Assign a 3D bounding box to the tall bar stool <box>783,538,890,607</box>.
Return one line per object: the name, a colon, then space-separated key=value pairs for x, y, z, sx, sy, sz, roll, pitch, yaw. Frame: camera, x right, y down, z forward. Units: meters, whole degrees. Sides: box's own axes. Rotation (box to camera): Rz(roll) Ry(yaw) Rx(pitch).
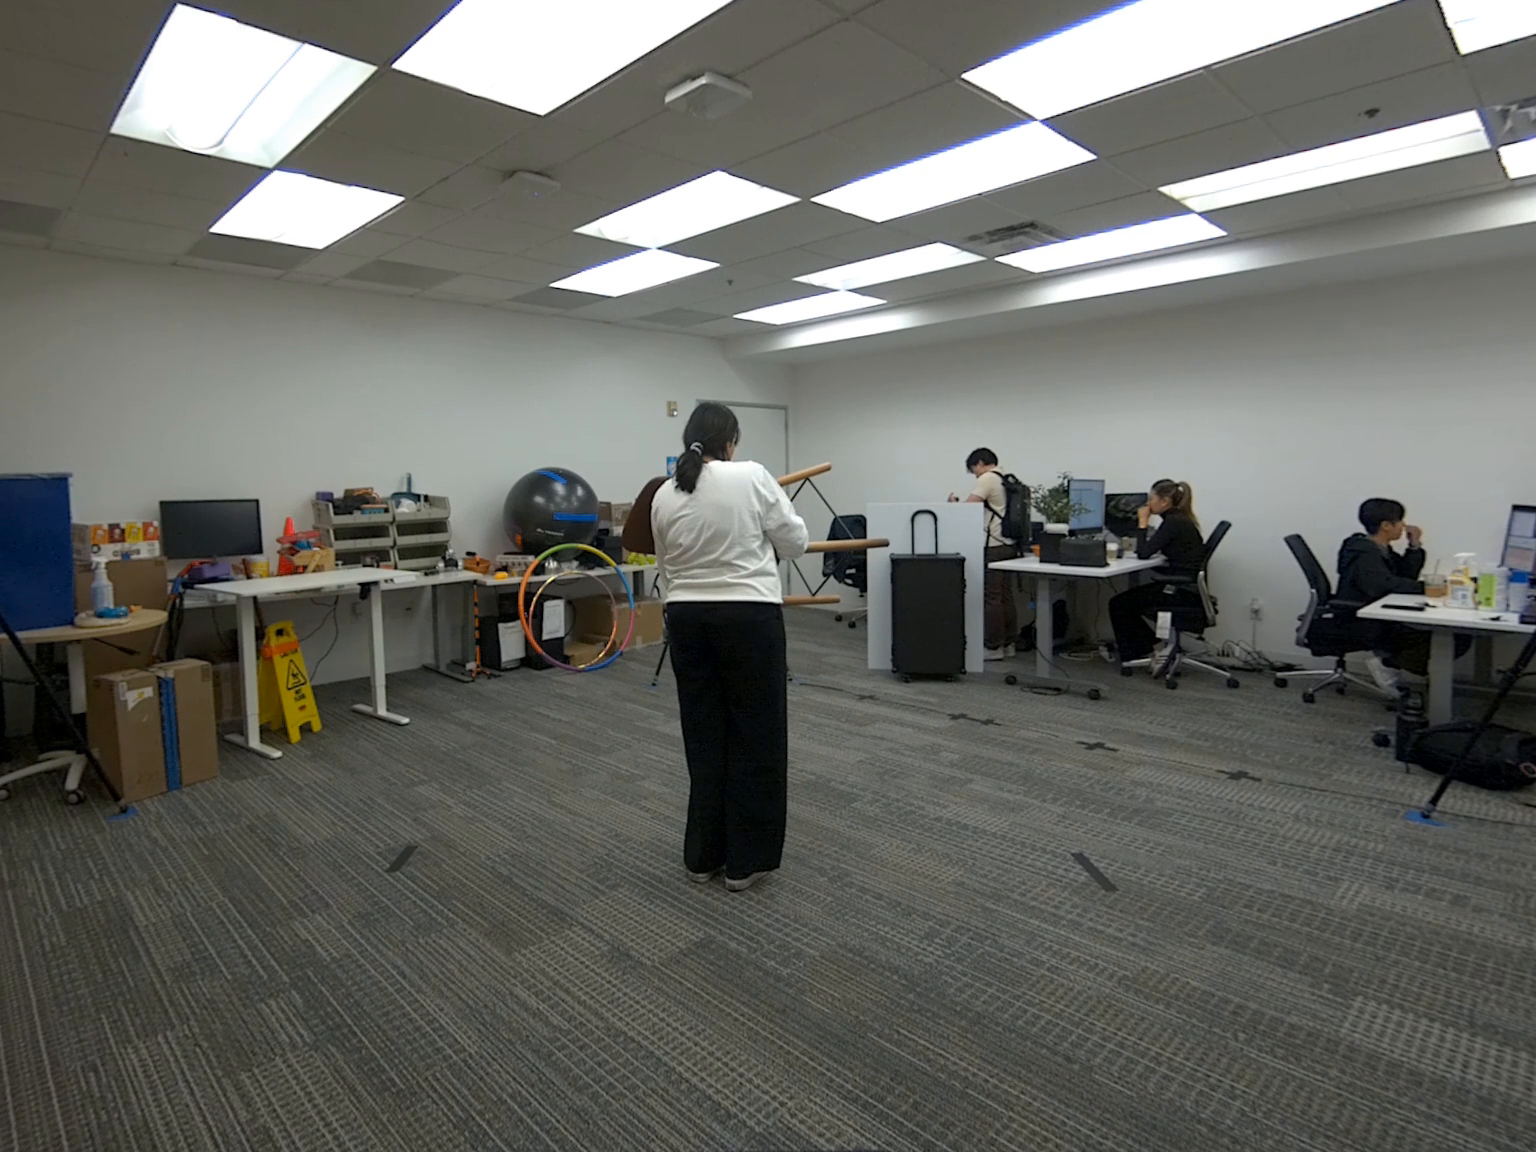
tall bar stool: x=-0.052 y=-0.124 z=3.308 sx=0.868 sy=0.482 sz=0.453 roll=-7 pitch=-34 yaw=-38
